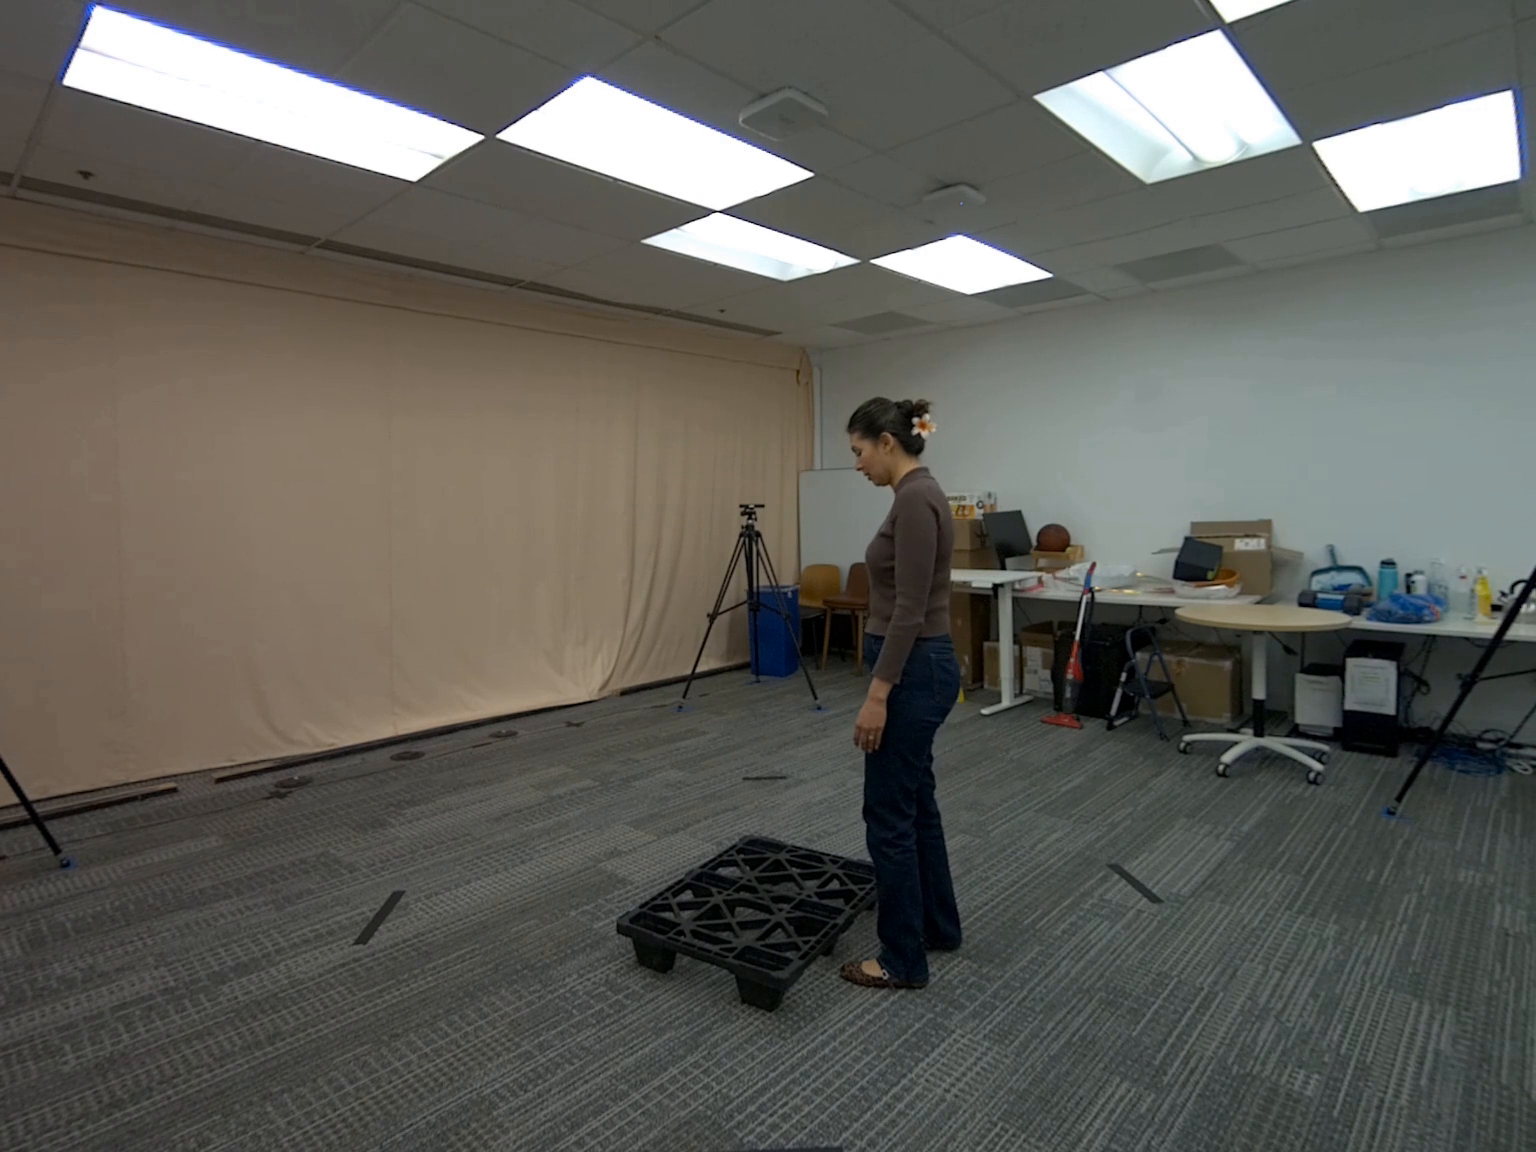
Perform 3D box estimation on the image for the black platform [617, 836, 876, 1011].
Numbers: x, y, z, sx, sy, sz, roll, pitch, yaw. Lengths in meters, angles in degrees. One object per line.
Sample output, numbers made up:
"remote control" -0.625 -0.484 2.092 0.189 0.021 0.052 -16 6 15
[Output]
"black platform" -0.014 1.094 2.732 0.623 0.143 0.784 1 5 32
